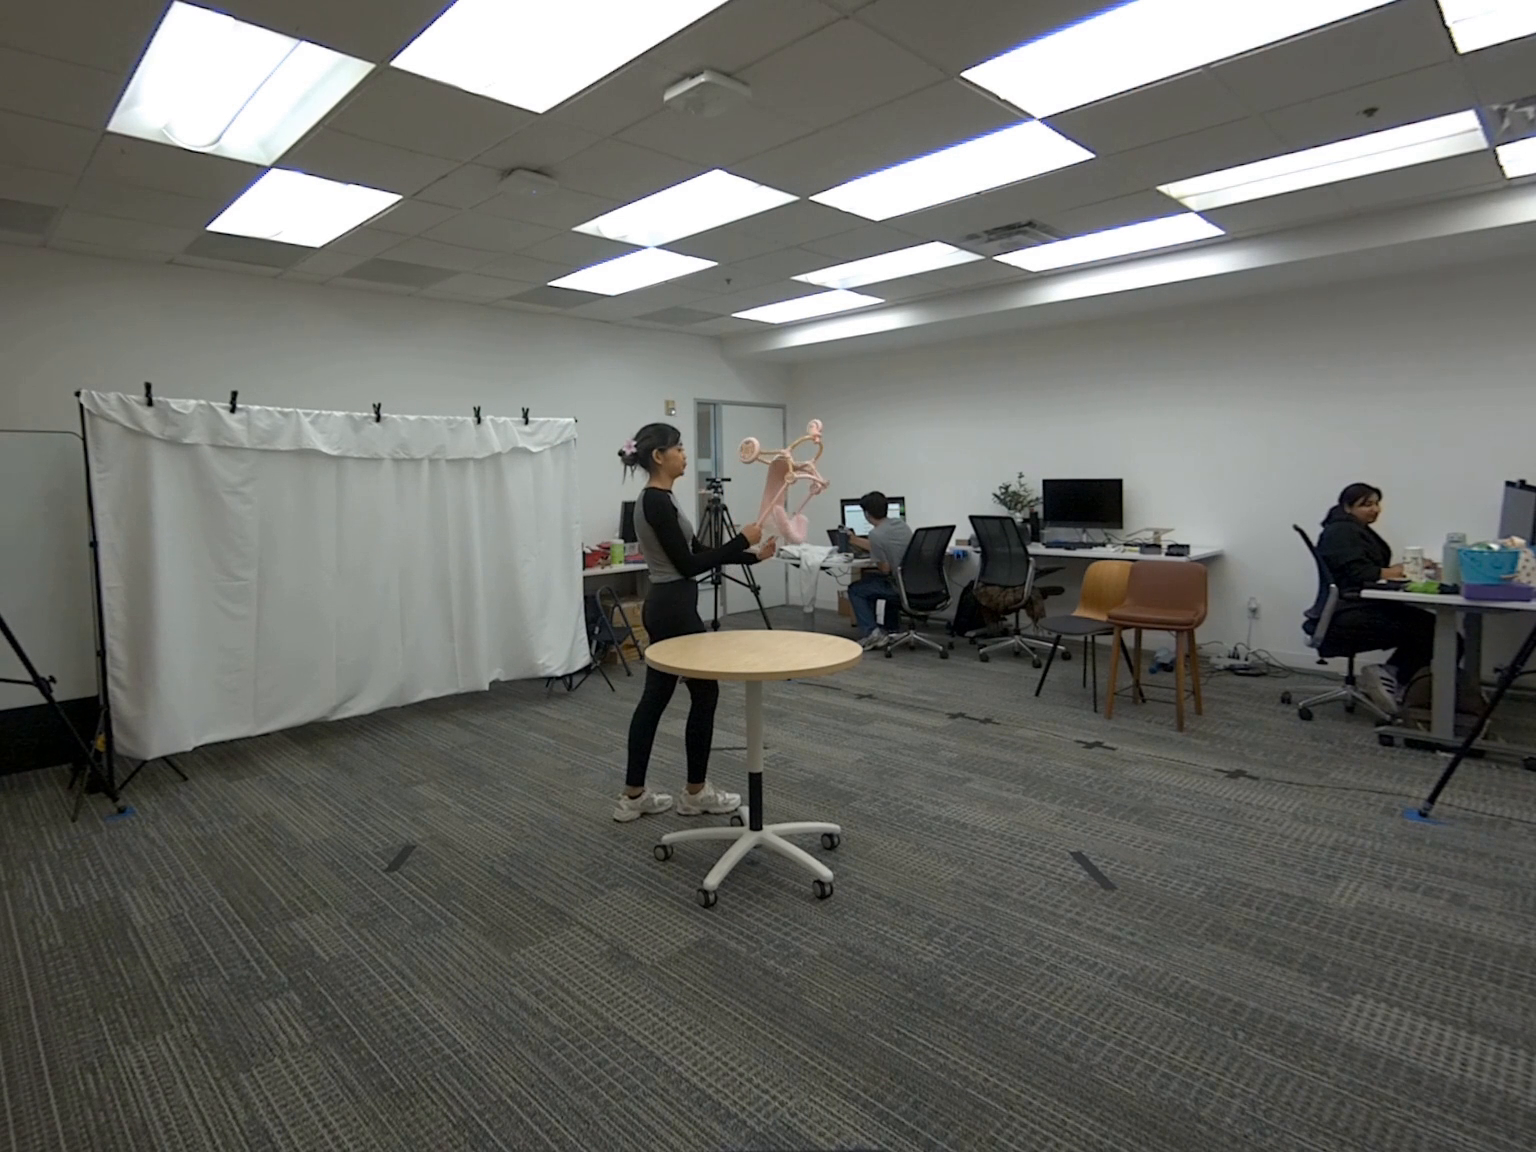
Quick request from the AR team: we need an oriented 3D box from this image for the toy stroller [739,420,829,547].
[{"bbox_3d":[0.082,-0.362,3.515,0.349,0.541,0.272,-7,-15,29],"label":"toy stroller"}]
